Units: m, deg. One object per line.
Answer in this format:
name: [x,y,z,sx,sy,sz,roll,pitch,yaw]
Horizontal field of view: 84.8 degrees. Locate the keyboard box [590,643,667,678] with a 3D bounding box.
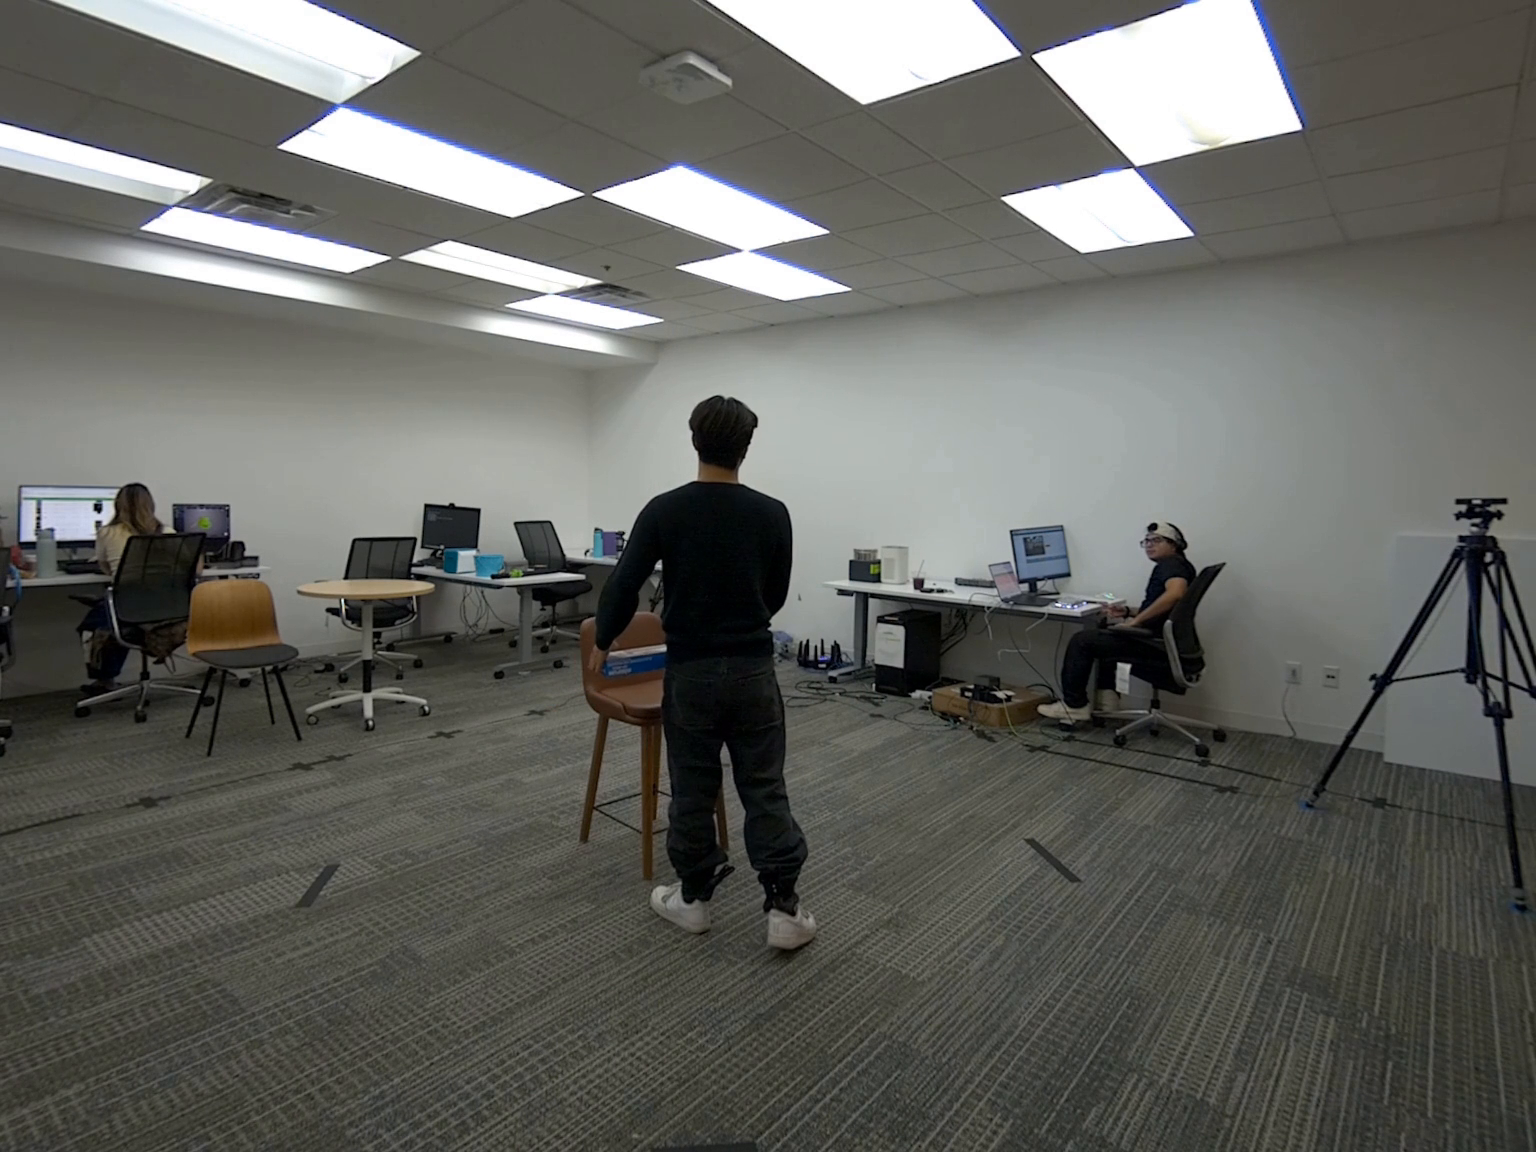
keyboard box: [-0.378,0.276,2.916,0.427,0.059,0.180,-7,3,-25]
